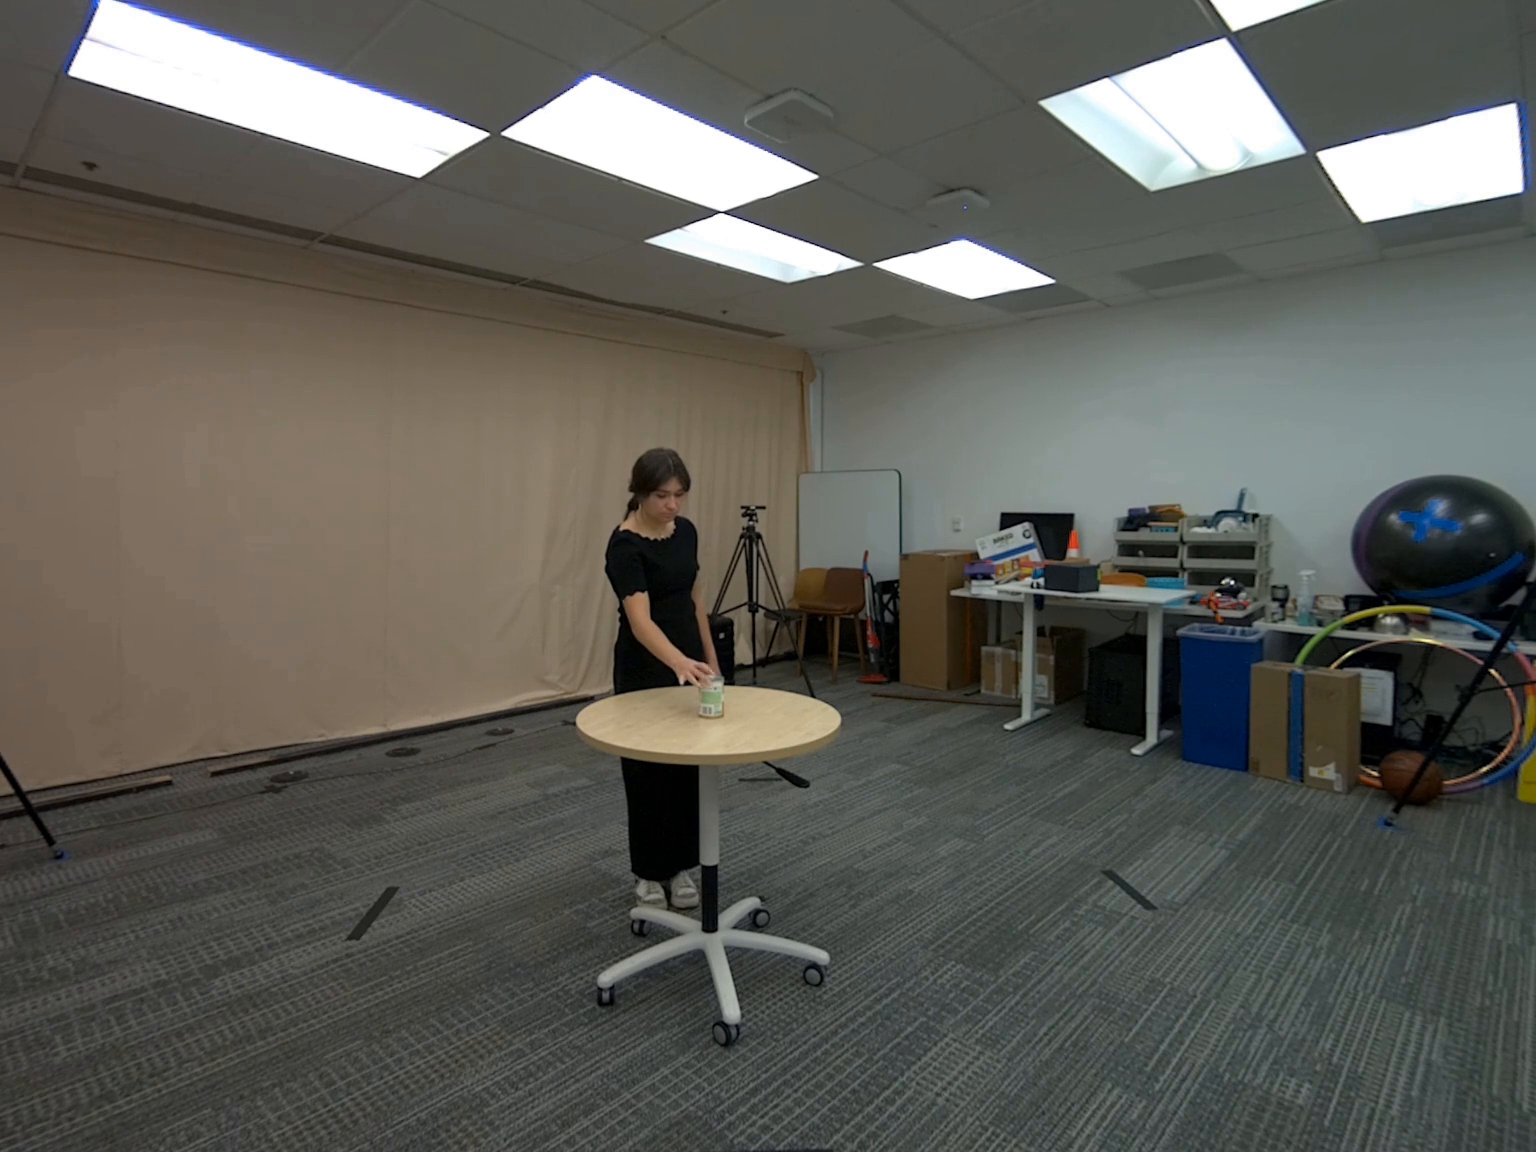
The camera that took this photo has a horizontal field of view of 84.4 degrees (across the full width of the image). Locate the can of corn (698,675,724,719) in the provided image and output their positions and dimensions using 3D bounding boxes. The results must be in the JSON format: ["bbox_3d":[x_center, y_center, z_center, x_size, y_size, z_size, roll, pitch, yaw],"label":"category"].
[{"bbox_3d":[-0.160,0.352,2.431,0.074,0.111,0.074,-3,4,-2],"label":"can of corn"}]
